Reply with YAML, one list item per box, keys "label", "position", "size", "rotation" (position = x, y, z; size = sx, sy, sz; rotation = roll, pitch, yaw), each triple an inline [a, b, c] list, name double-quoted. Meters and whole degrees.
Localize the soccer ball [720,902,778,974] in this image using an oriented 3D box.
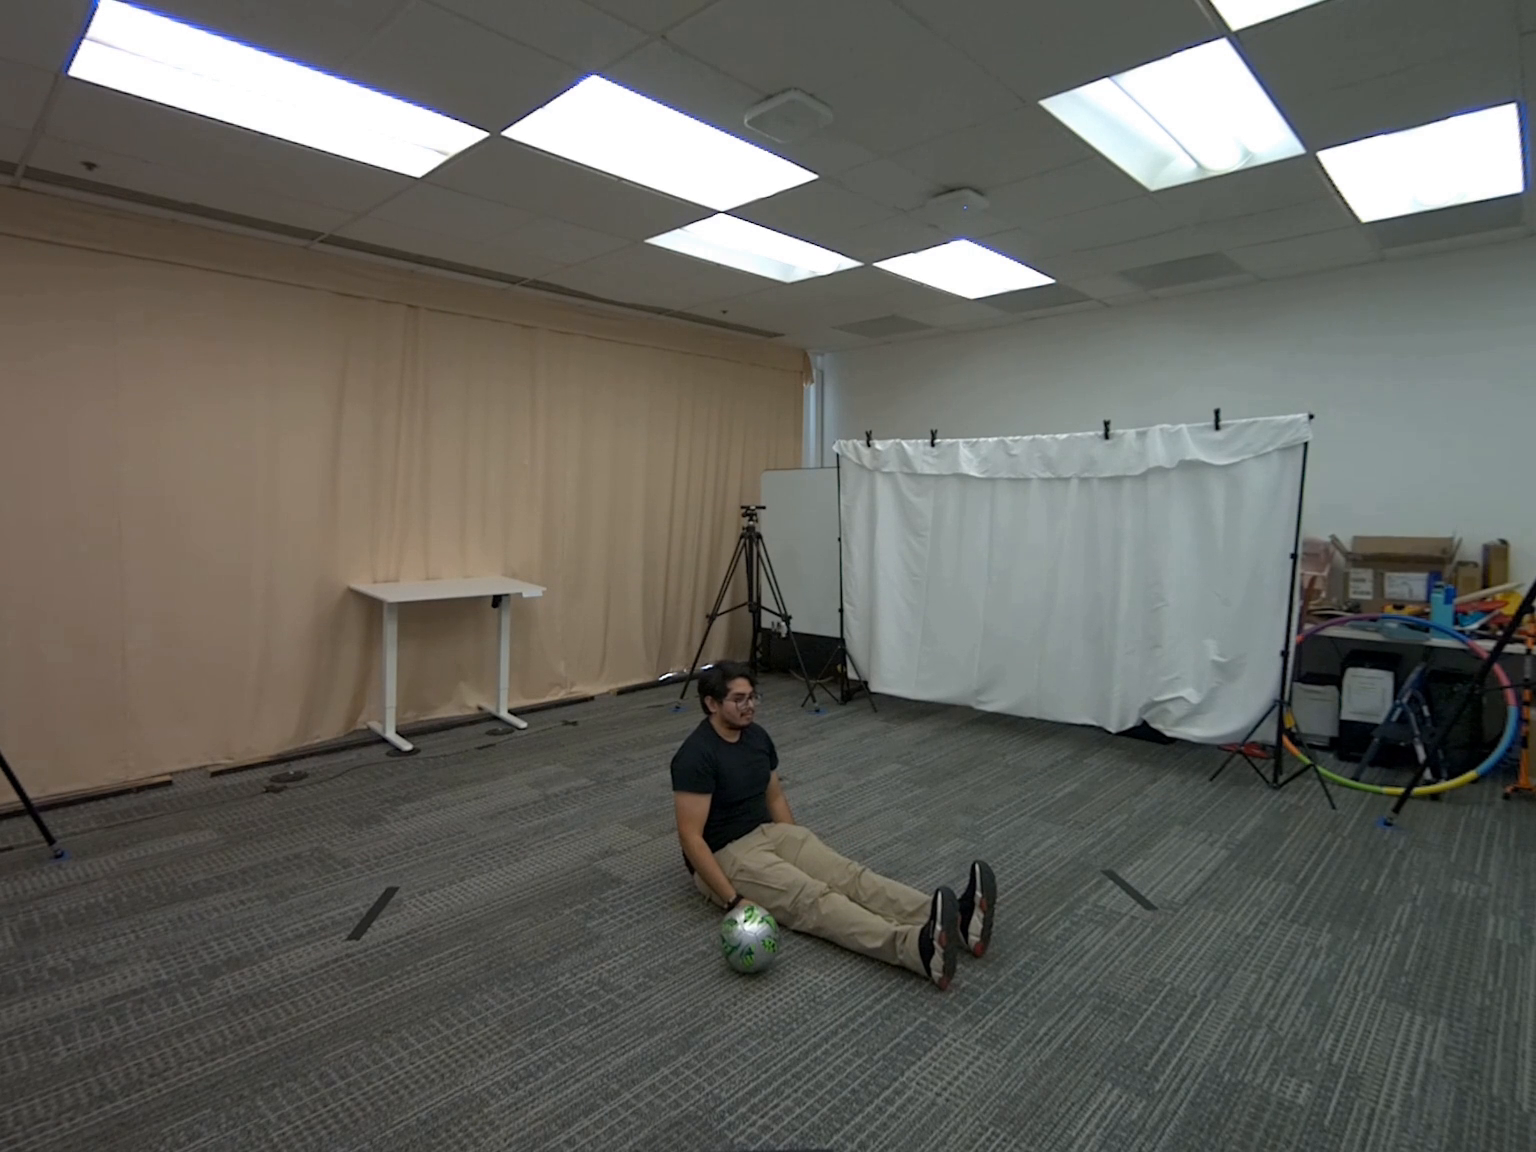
- label: "soccer ball"
  position: [-0.062, 1.080, 2.531]
  size: [0.187, 0.187, 0.188]
  rotation: [0, 4, -2]
